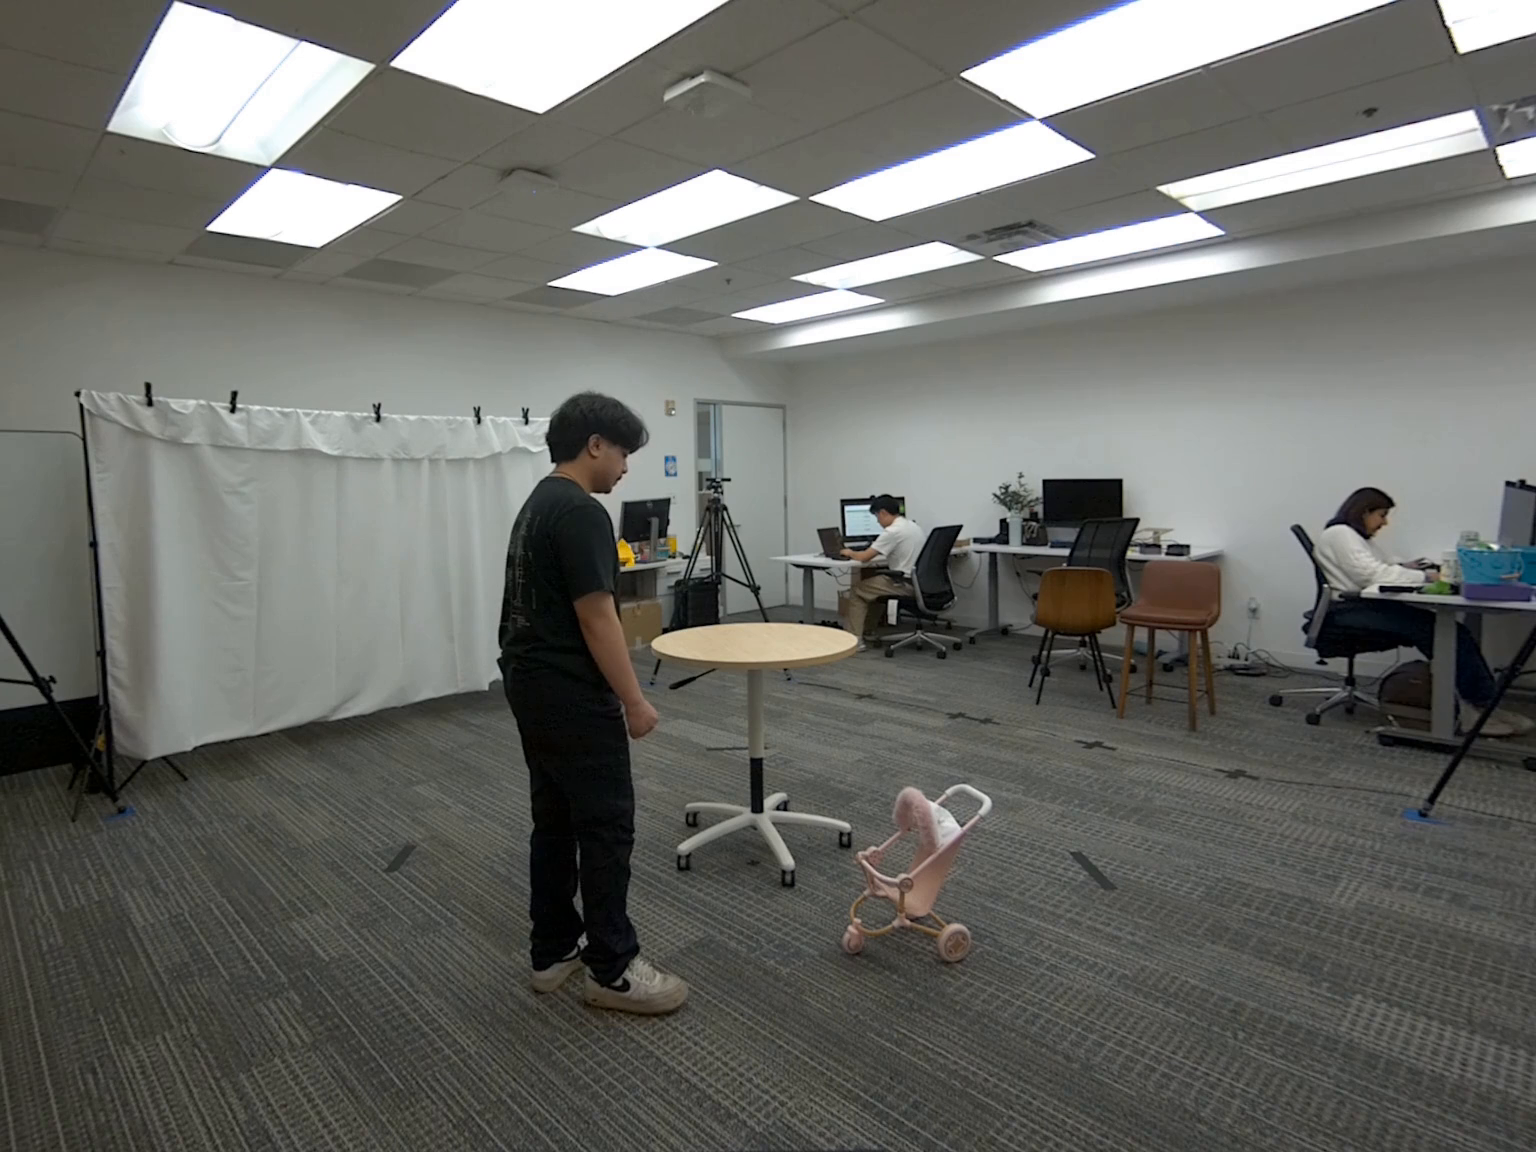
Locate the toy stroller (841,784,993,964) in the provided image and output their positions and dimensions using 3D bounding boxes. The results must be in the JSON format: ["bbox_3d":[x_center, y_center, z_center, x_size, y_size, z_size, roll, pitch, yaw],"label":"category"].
[{"bbox_3d":[0.429,0.876,2.543,0.336,0.535,0.286,13,1,-14],"label":"toy stroller"}]
